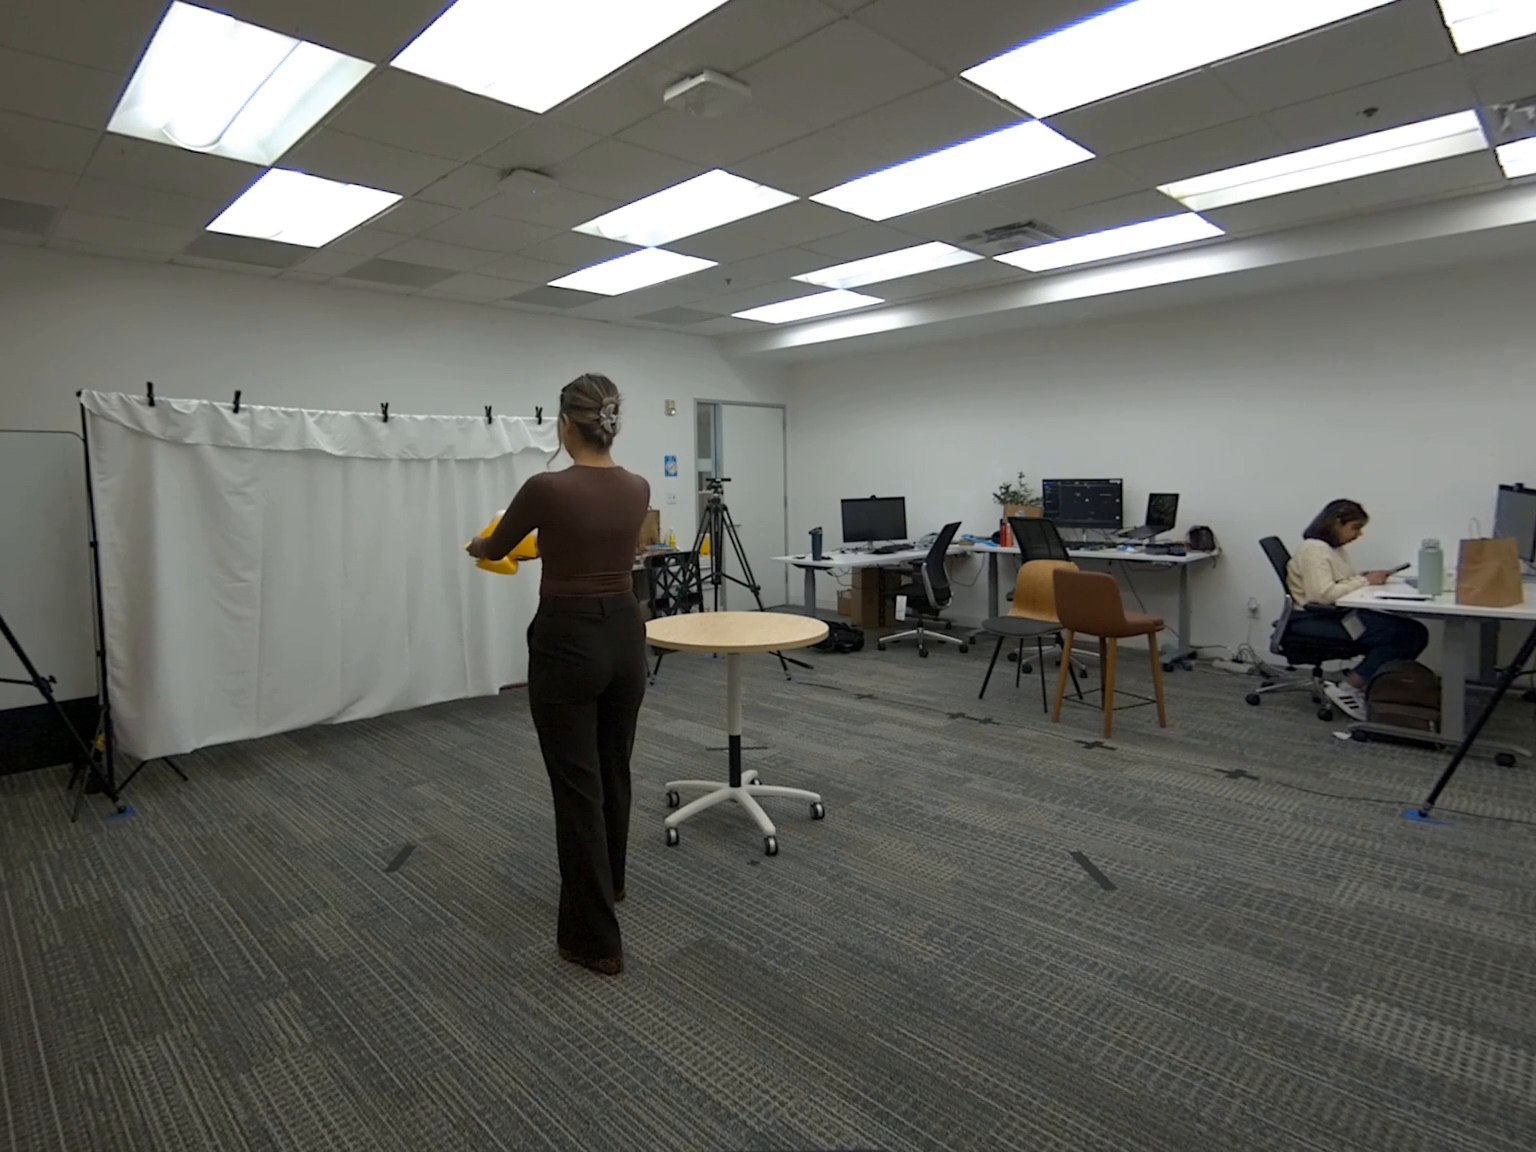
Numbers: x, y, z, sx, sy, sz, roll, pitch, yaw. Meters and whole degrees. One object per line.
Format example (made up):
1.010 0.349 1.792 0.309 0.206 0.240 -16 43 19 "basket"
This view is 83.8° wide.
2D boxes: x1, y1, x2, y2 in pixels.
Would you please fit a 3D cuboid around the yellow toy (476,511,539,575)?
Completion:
-0.893 -0.157 2.916 0.187 0.229 0.213 8 24 -39 "yellow toy"
